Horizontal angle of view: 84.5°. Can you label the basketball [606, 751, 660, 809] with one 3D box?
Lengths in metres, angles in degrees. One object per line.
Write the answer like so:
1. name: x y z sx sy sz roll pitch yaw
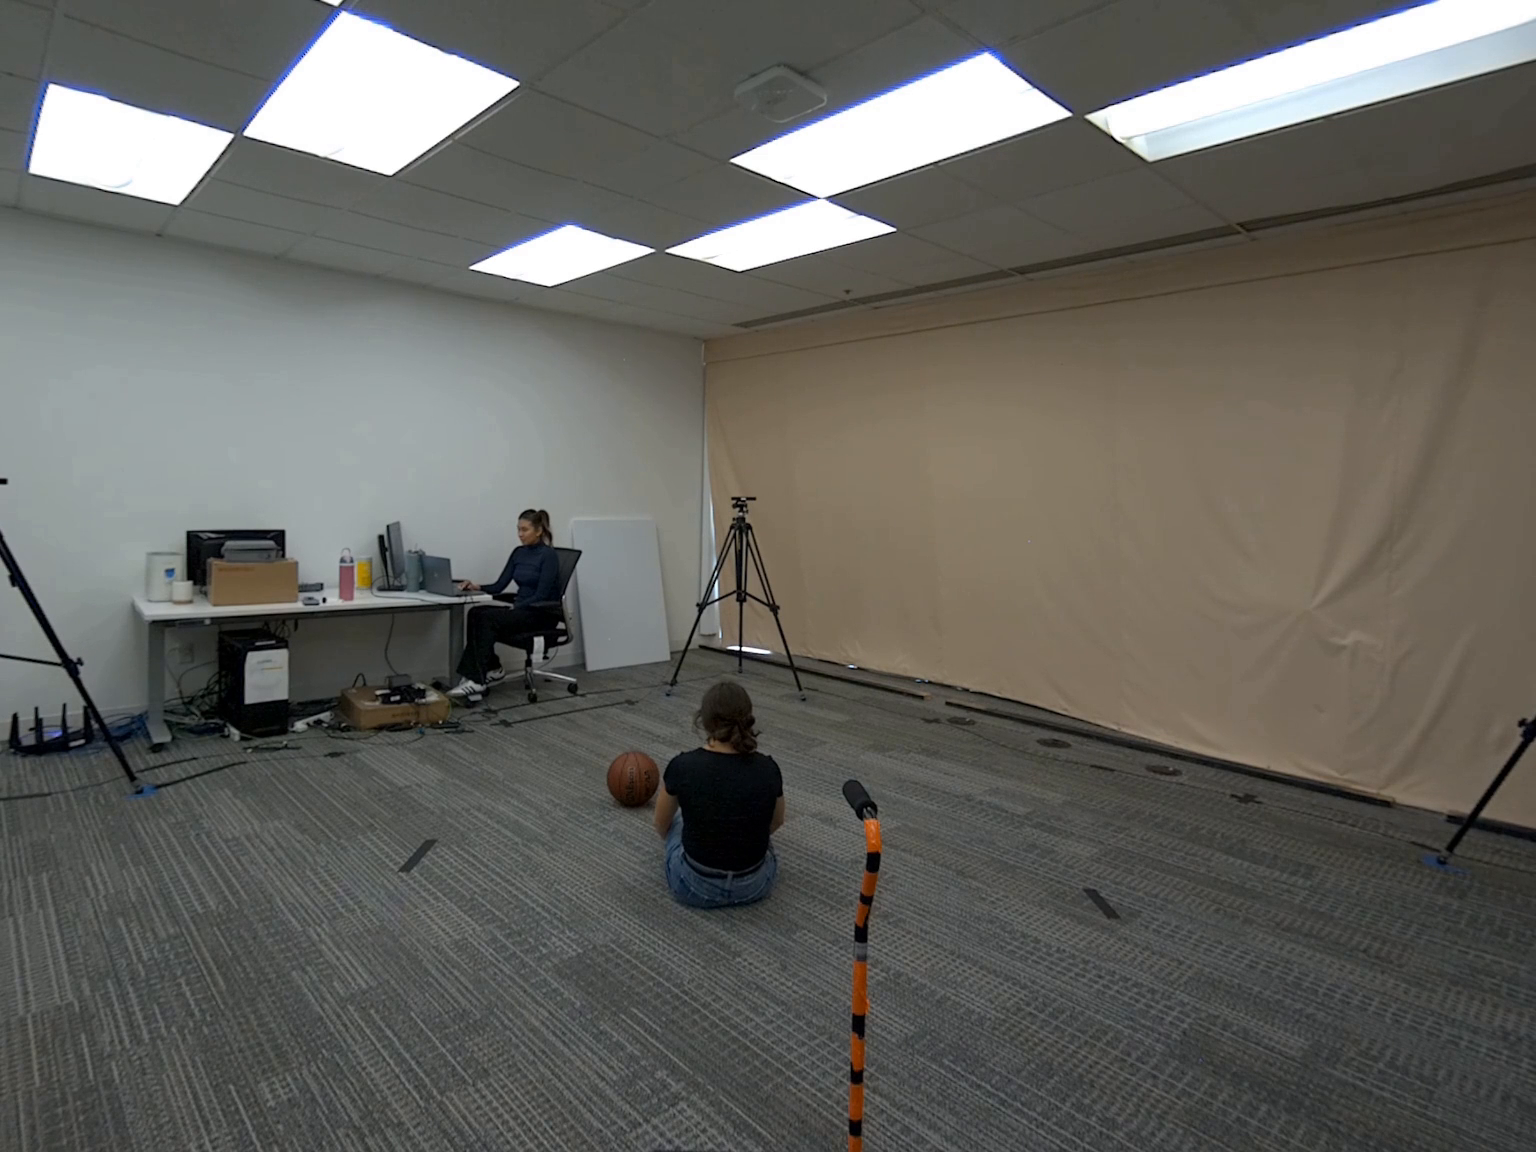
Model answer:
1. basketball: -0.620 0.912 3.811 0.236 0.235 0.237 1 4 -1
